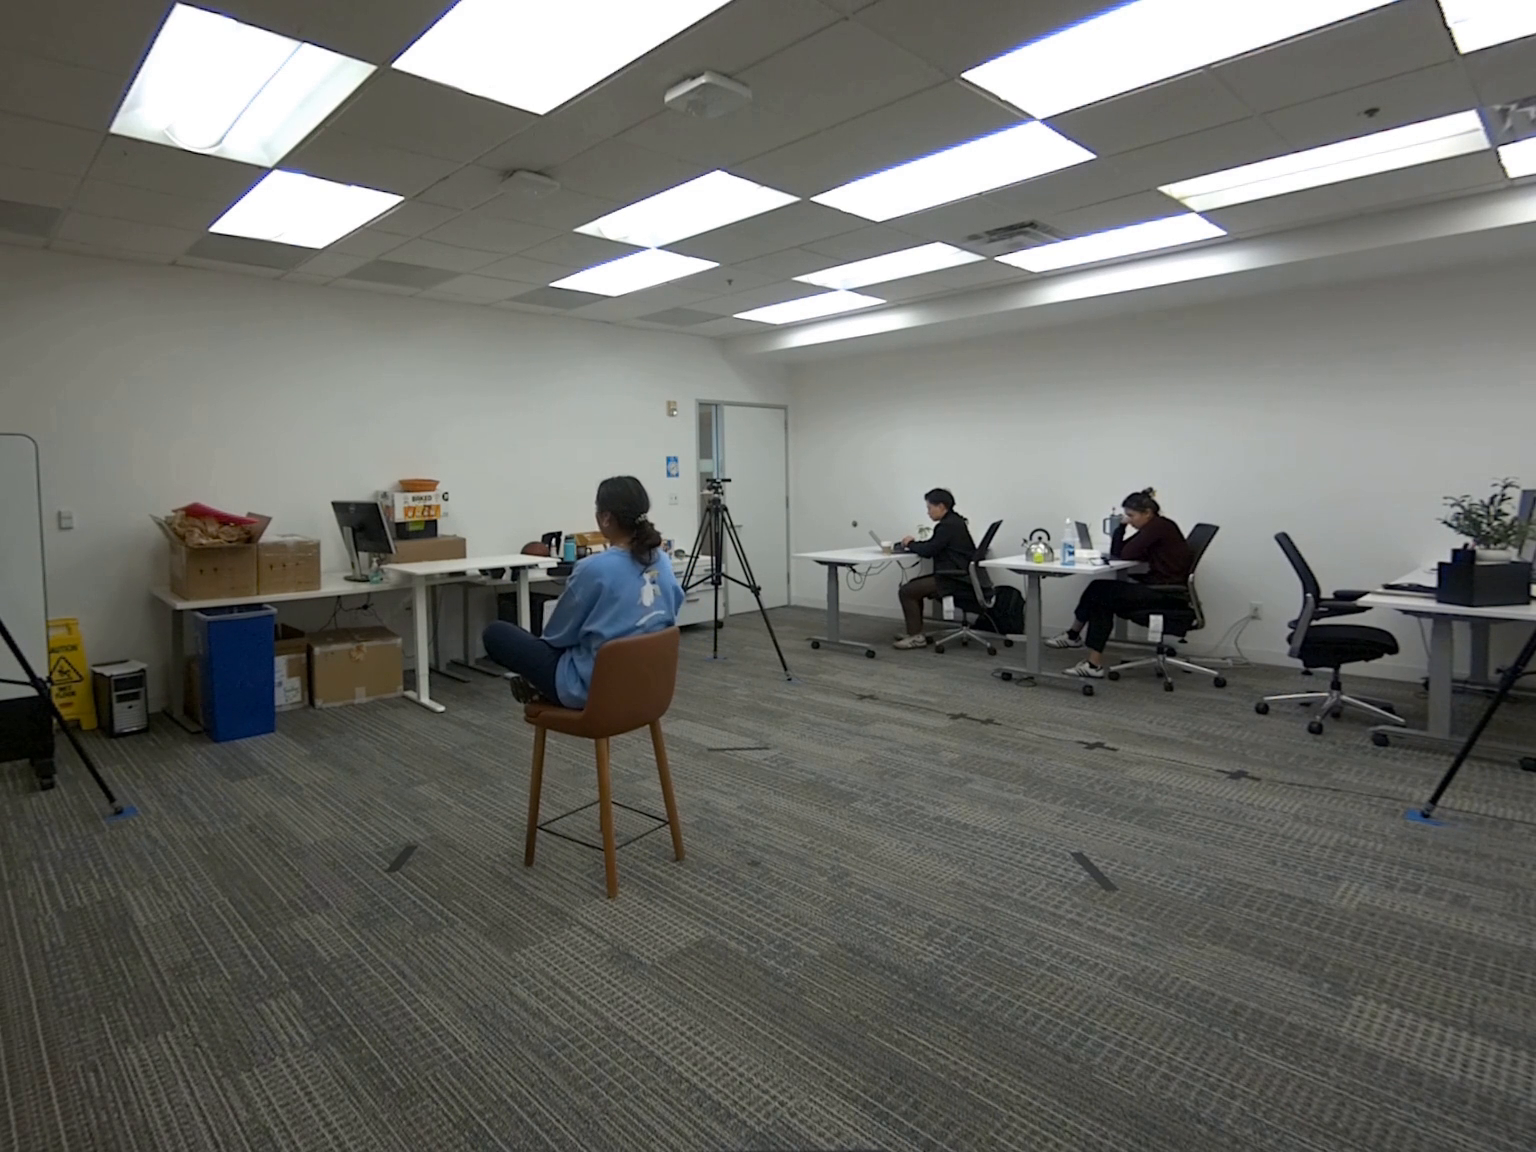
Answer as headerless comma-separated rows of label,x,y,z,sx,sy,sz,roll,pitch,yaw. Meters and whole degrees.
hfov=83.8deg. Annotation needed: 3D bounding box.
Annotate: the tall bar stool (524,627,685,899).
tall bar stool,-0.594,0.619,3.113,0.482,0.885,0.445,5,7,37
